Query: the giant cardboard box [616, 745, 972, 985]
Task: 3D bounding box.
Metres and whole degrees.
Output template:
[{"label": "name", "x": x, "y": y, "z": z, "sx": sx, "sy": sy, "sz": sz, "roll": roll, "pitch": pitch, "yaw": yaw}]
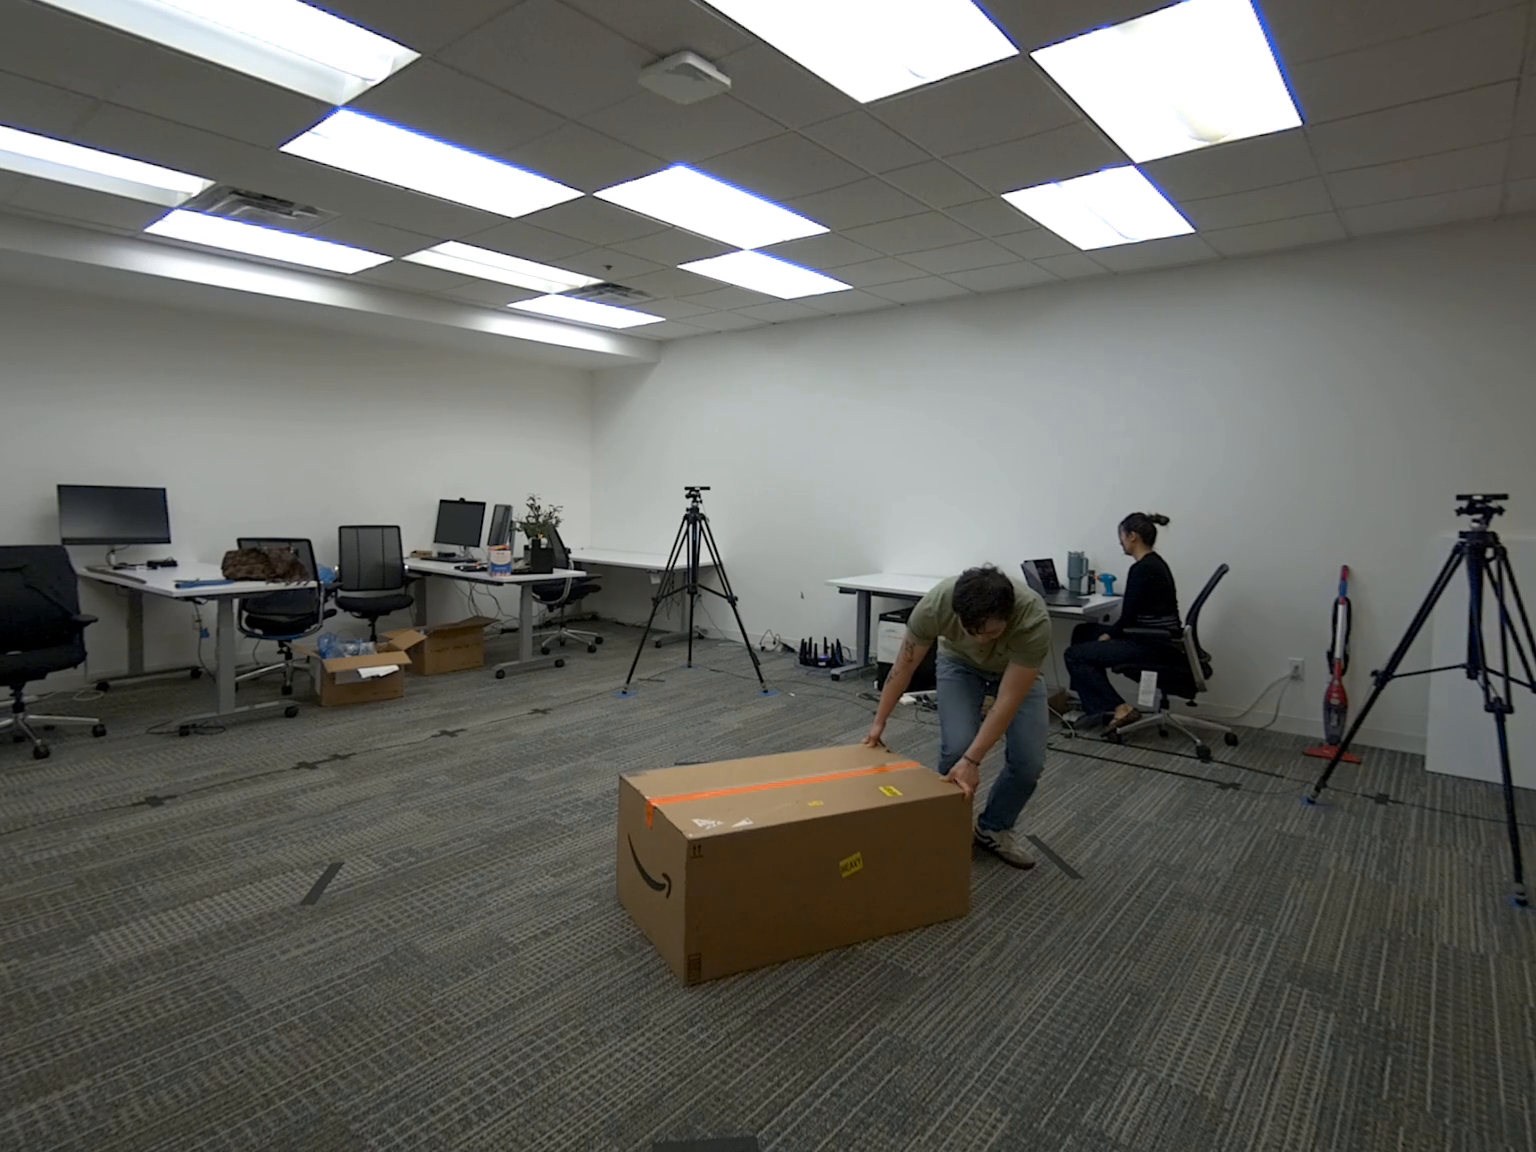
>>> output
[{"label": "giant cardboard box", "x": 0.072, "y": 0.886, "z": 2.820, "sx": 1.000, "sy": 0.424, "sz": 0.594, "roll": -1, "pitch": 6, "yaw": -27}]
